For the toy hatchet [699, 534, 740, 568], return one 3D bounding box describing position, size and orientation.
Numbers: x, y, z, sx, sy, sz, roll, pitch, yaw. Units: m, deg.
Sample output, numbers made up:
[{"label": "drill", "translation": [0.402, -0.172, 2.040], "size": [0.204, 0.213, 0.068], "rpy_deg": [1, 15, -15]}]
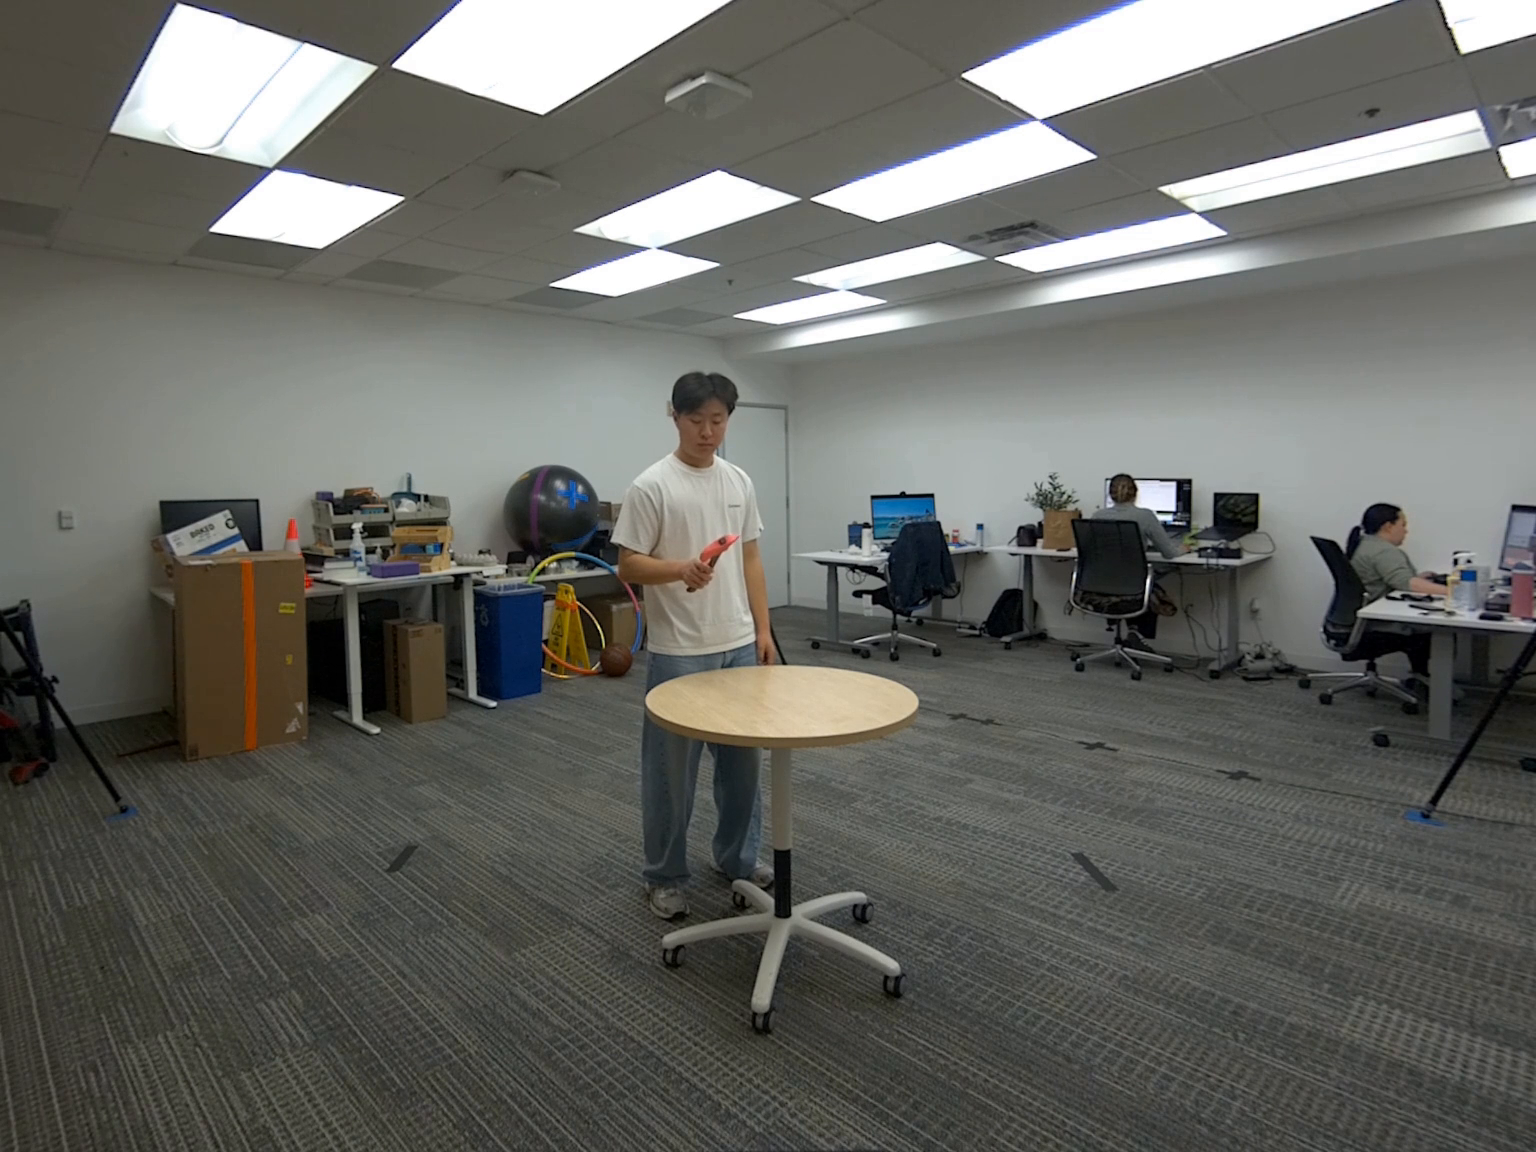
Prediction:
[{"label": "toy hatchet", "translation": [-0.187, -0.019, 2.444], "size": [0.129, 0.030, 0.269], "rpy_deg": [-26, -17, -47]}]
